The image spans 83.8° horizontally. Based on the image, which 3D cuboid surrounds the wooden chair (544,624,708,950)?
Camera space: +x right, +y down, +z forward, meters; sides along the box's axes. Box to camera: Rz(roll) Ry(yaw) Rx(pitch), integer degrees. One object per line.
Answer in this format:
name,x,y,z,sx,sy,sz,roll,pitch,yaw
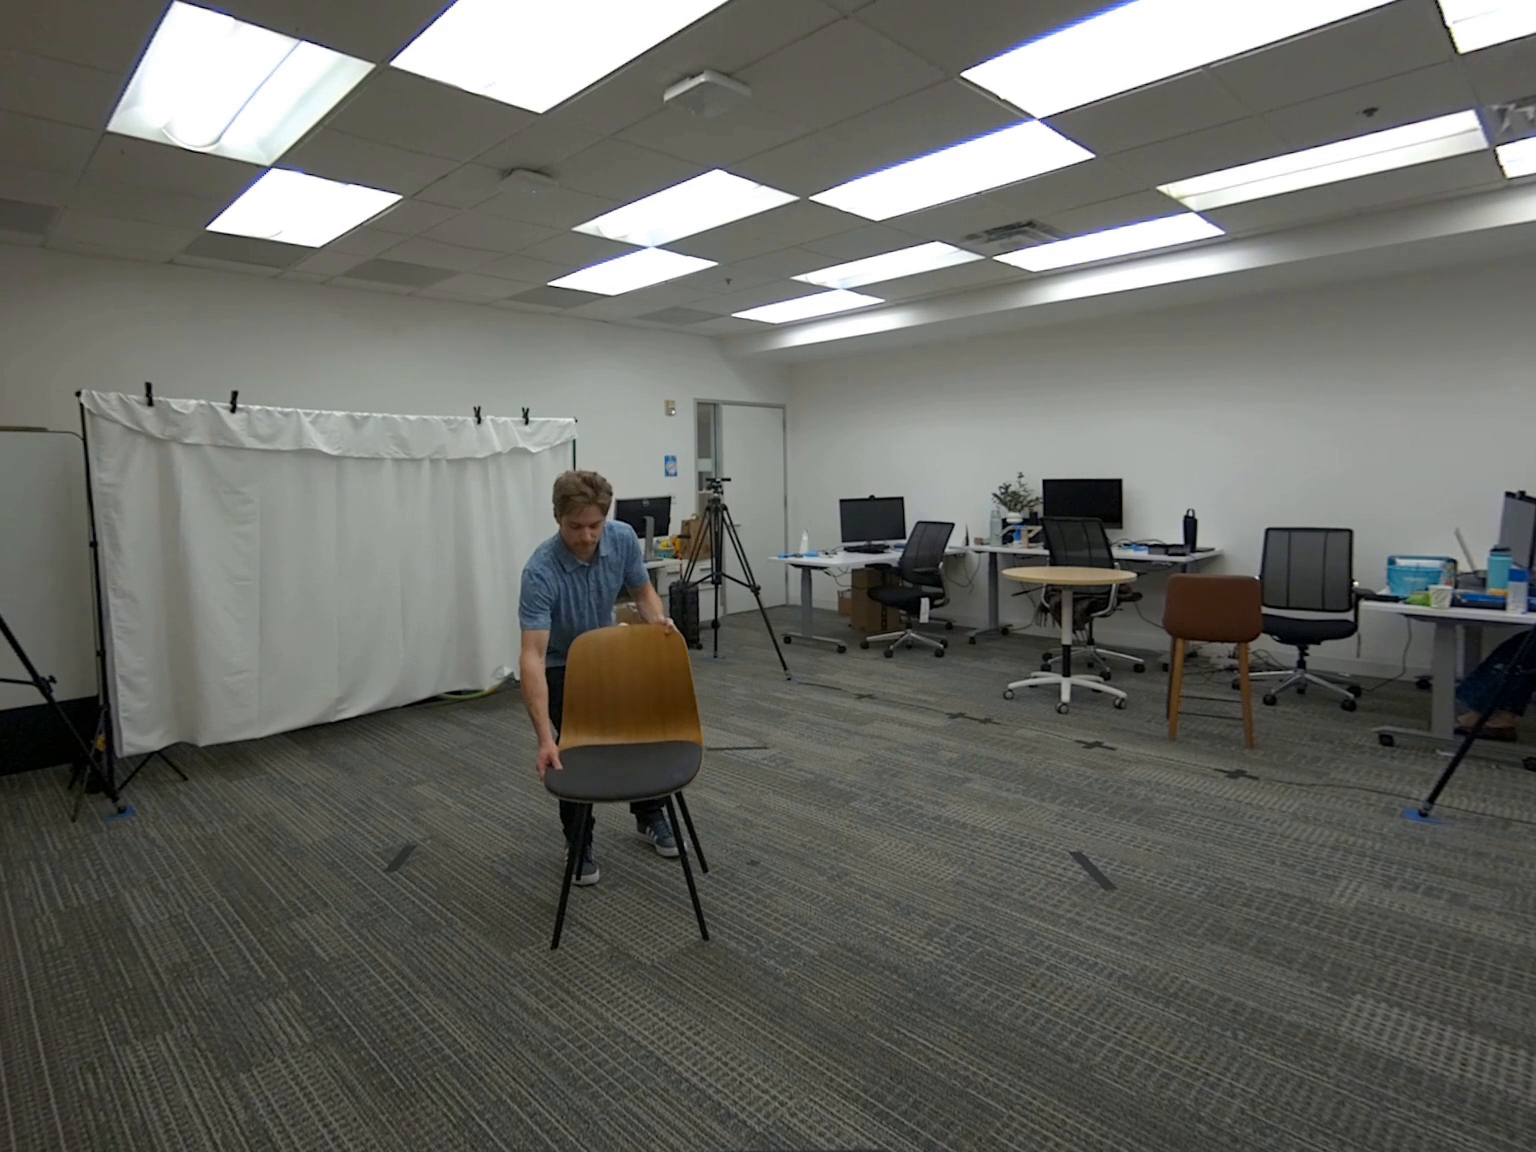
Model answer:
wooden chair,-0.422,0.606,2.632,0.477,0.878,0.524,-3,0,-3
